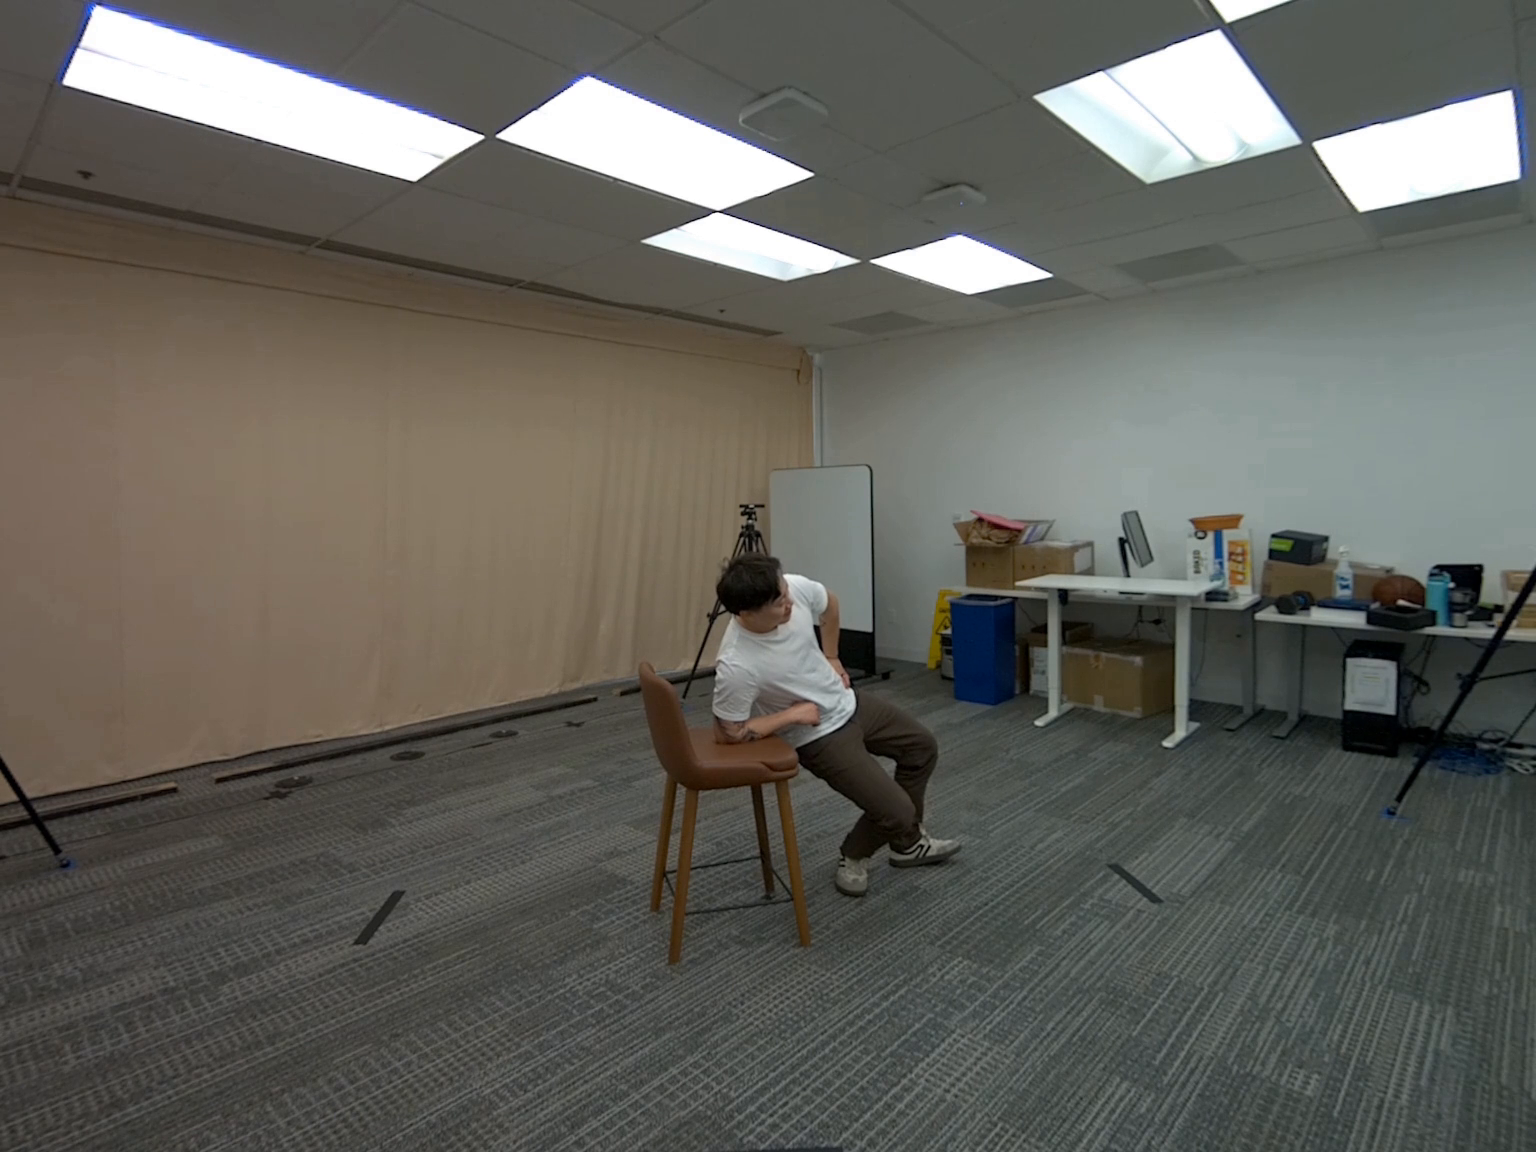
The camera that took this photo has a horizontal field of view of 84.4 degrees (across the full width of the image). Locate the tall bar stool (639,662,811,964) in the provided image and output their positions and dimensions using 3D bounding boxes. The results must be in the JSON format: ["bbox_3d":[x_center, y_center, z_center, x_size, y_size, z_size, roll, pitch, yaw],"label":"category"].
[{"bbox_3d":[-0.150,0.727,2.763,0.460,0.888,0.465,-3,4,-16],"label":"tall bar stool"}]
